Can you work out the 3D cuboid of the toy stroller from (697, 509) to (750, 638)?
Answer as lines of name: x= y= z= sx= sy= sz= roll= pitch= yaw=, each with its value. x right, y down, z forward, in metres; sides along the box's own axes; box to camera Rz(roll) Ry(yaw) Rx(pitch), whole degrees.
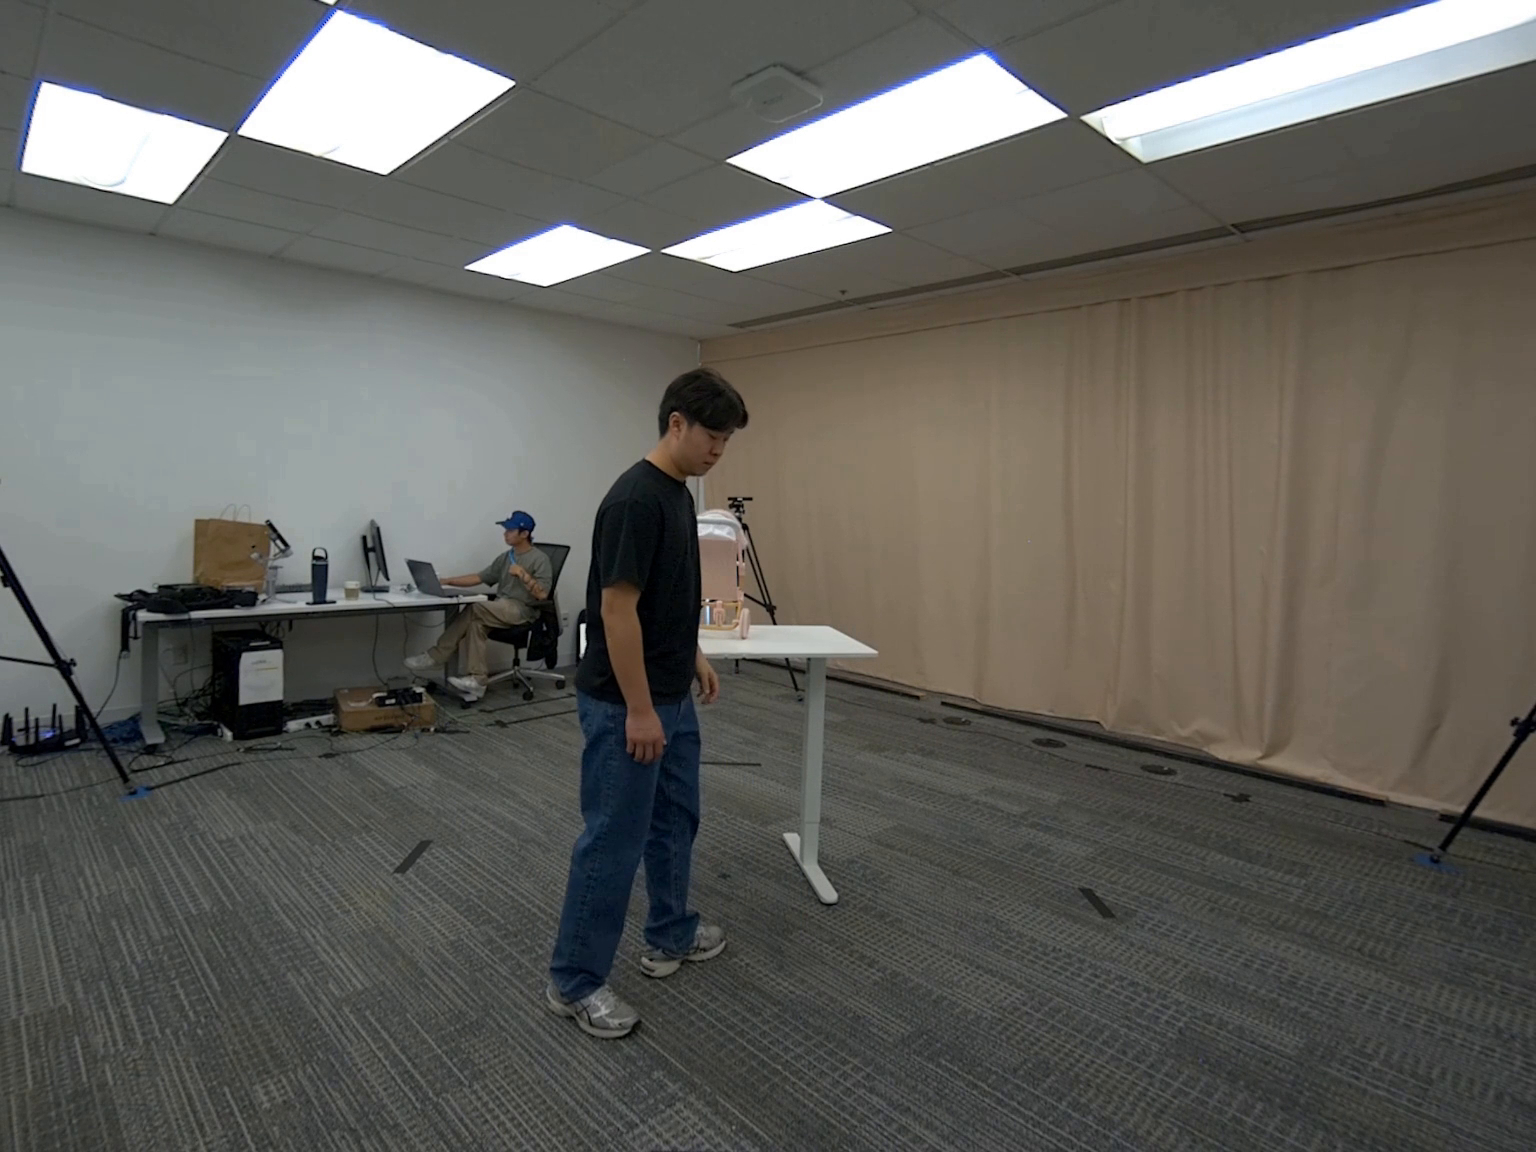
toy stroller: x=-0.198 y=-0.006 z=3.152 sx=0.284 sy=0.528 sz=0.343 roll=3 pitch=19 yaw=9
